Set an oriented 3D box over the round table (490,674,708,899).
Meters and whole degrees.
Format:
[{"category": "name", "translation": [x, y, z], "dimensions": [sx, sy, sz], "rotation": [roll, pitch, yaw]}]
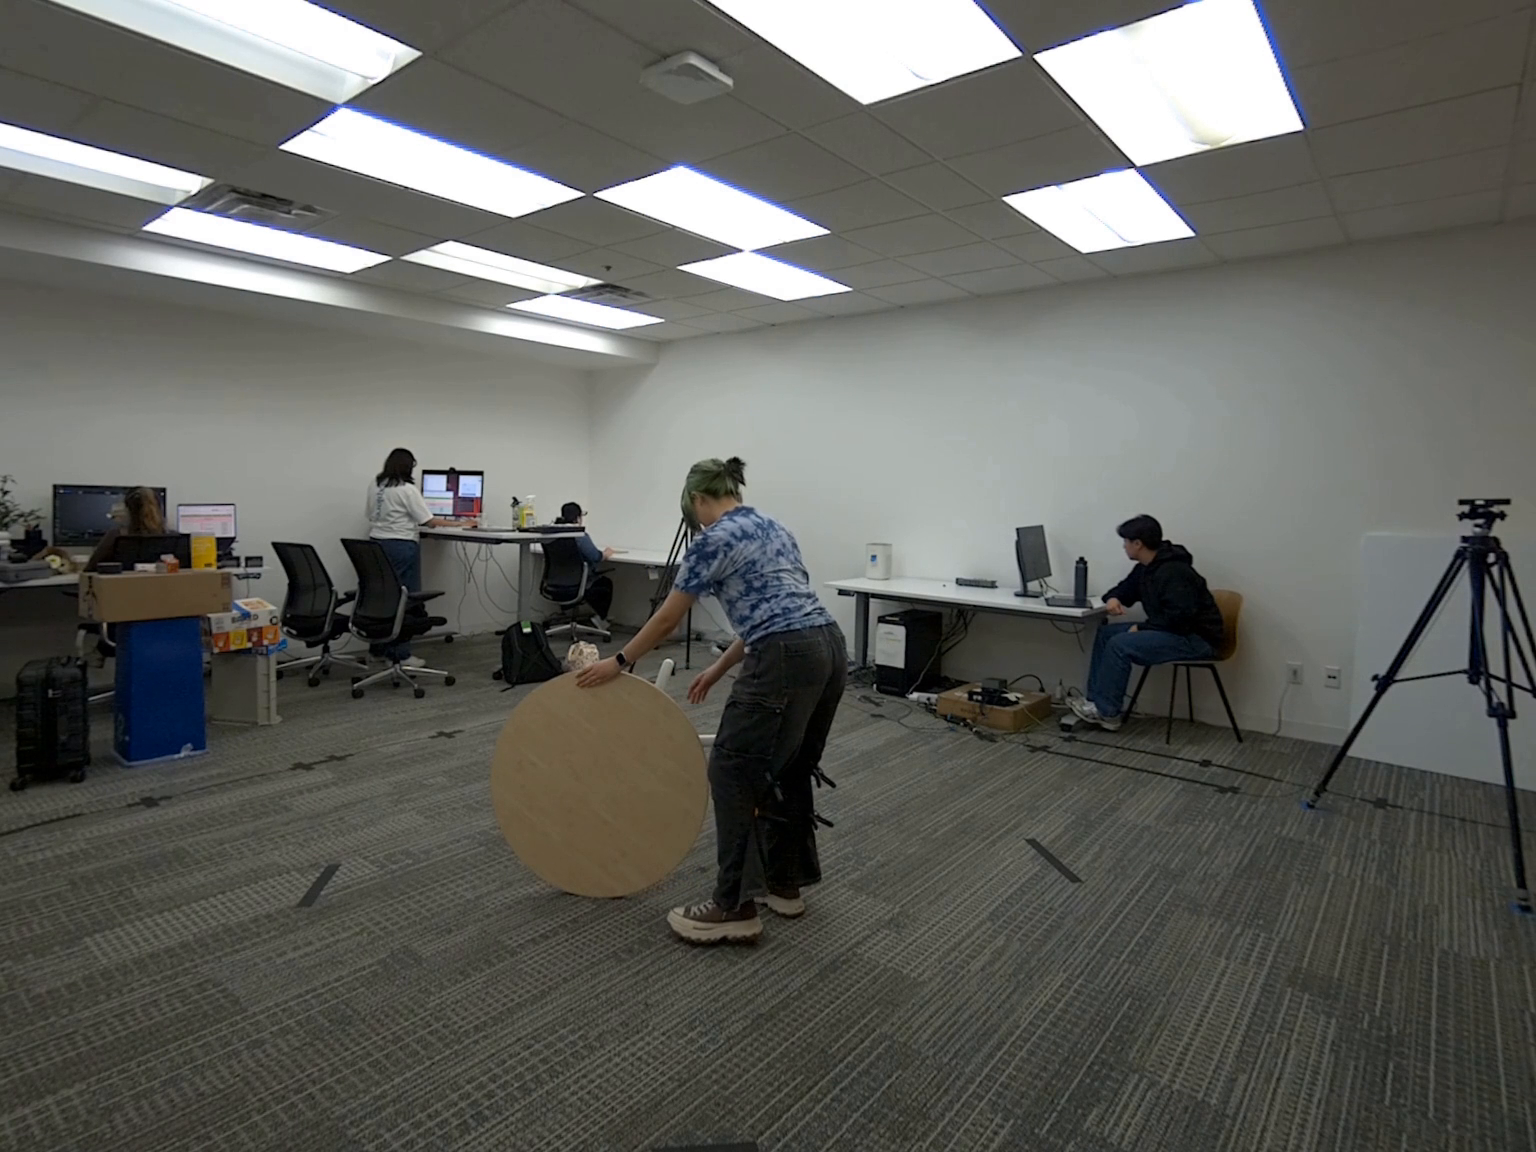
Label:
[{"category": "round table", "translation": [-0.560, 0.699, 3.279], "dimensions": [0.770, 0.765, 0.787], "rotation": [1, -1, 7]}]
